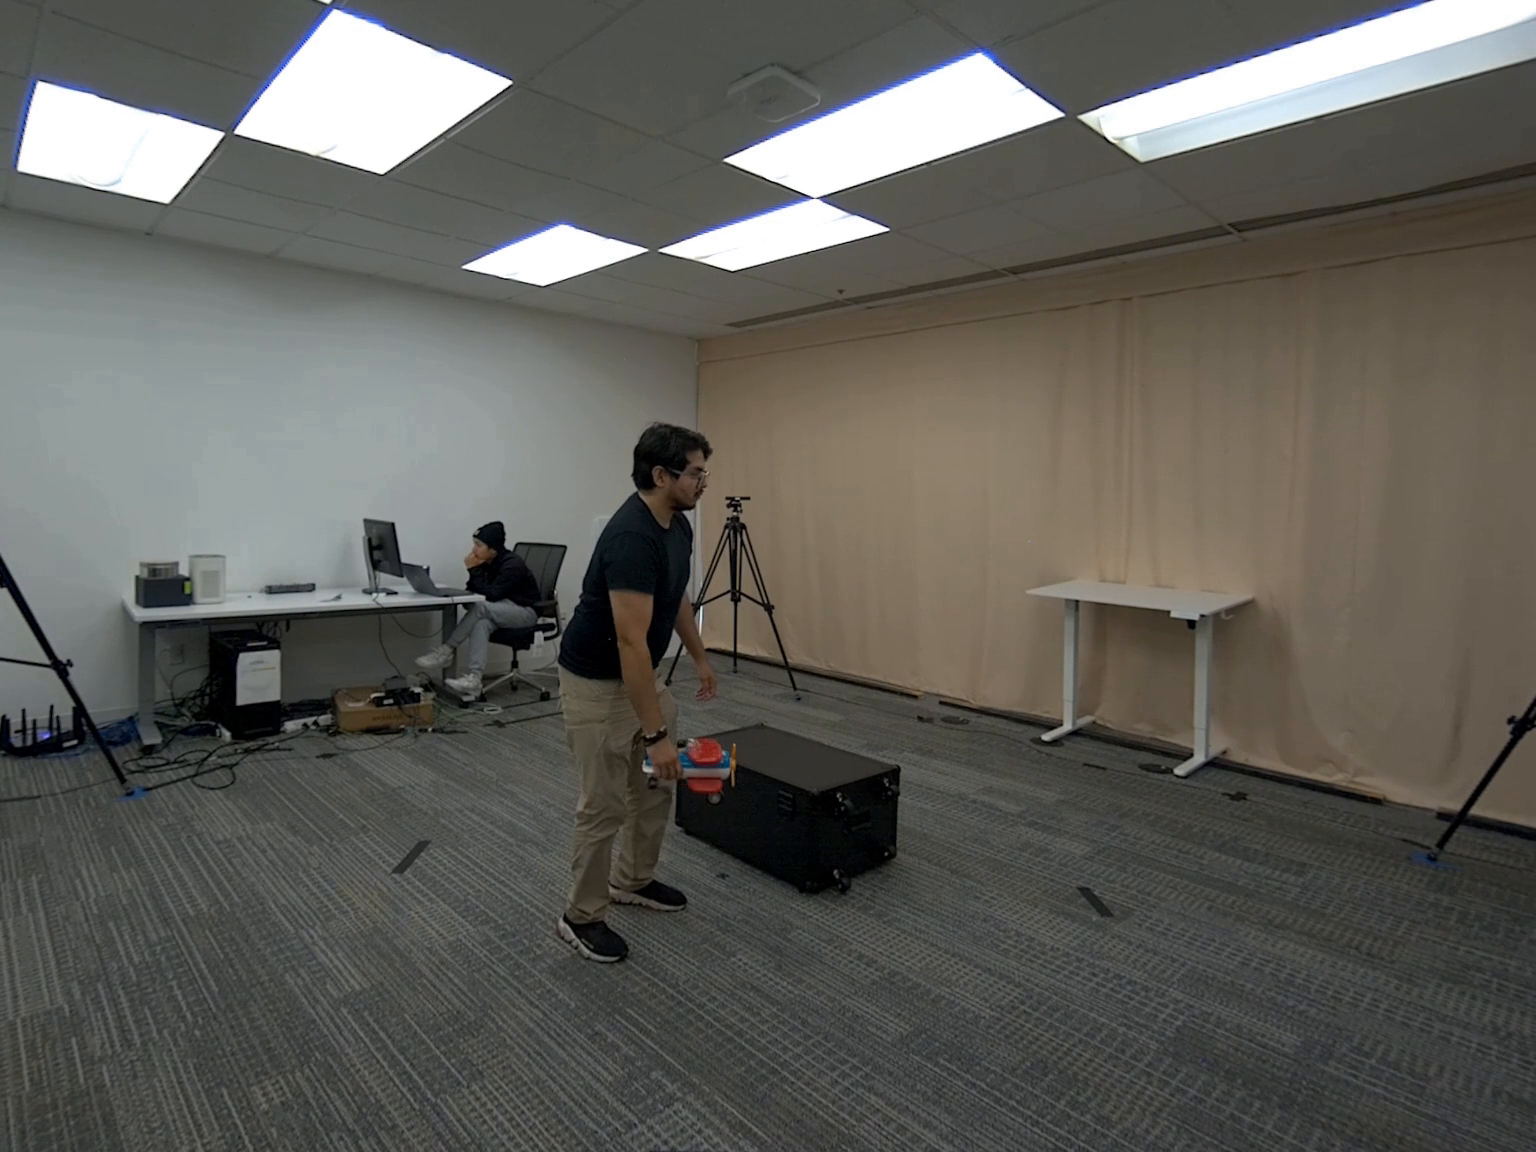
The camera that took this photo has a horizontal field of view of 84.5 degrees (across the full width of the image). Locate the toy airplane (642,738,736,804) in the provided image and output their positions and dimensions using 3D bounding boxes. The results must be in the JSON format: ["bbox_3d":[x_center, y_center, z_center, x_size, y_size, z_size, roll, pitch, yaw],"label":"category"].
[{"bbox_3d":[-0.236,0.553,2.353,0.252,0.156,0.257,14,-1,-35],"label":"toy airplane"}]
